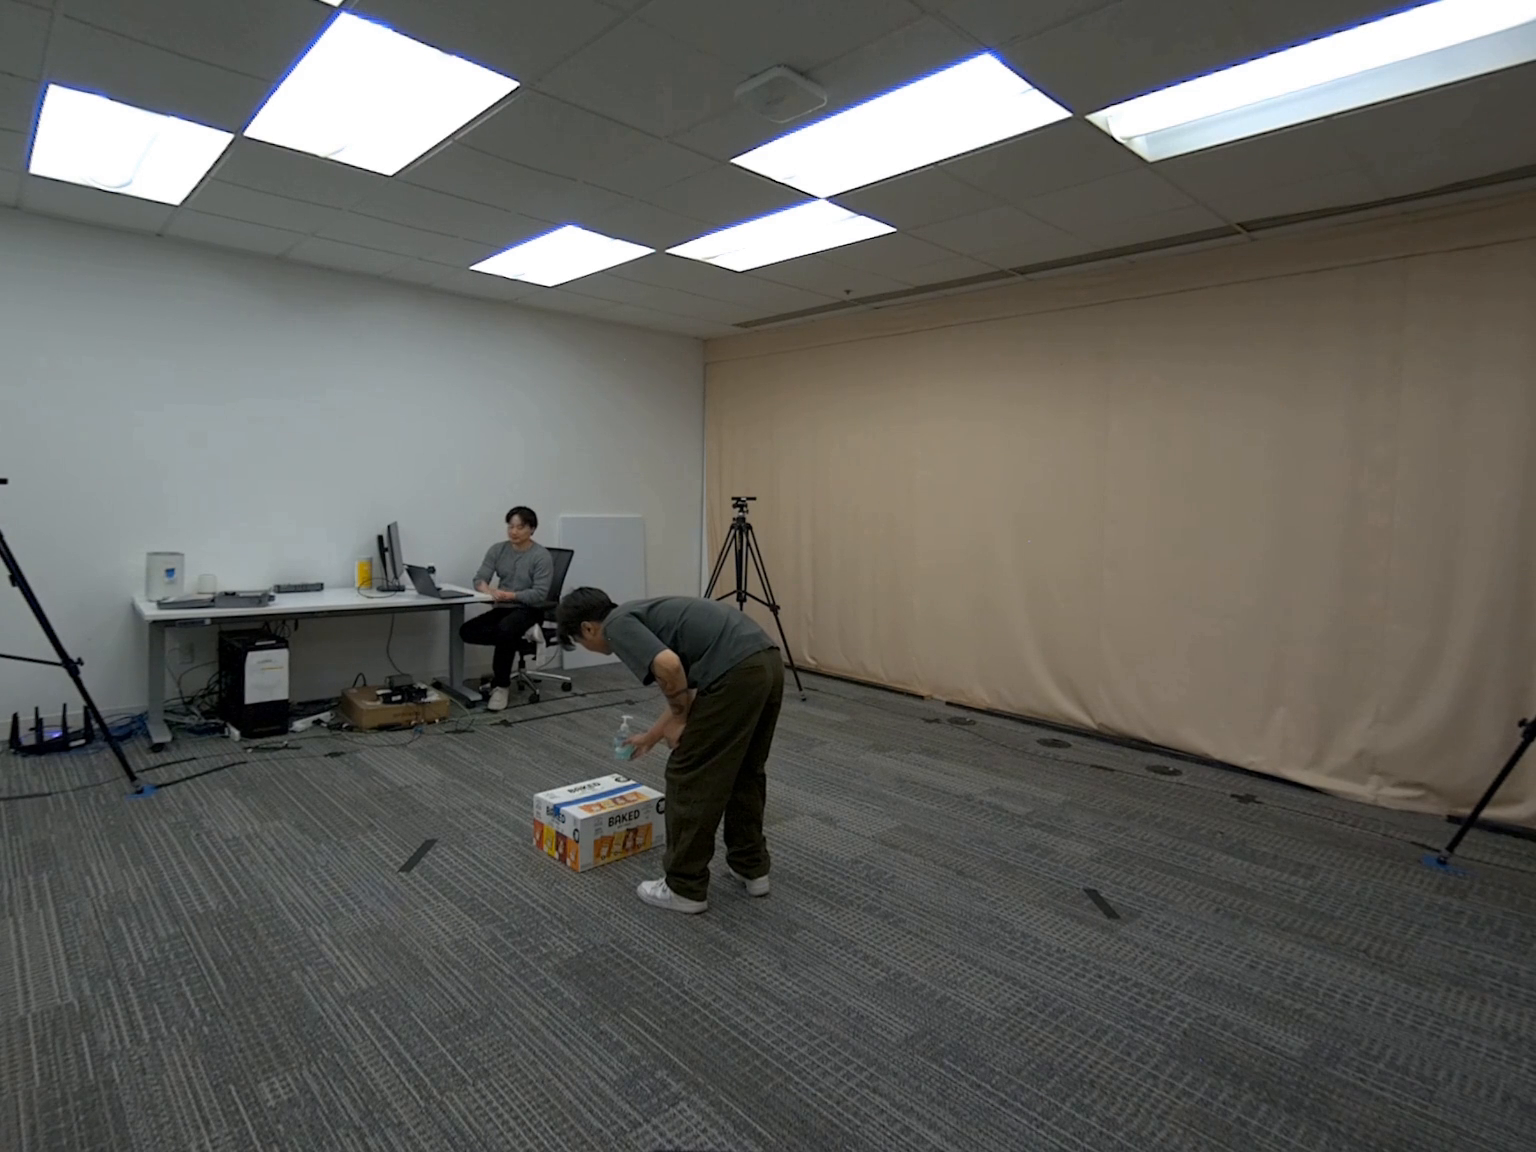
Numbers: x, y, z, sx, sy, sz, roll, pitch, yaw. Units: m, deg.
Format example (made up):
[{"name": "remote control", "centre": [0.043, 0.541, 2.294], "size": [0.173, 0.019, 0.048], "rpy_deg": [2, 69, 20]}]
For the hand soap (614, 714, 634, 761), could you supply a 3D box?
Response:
[{"name": "hand soap", "centre": [-0.580, 0.645, 3.369], "size": [0.085, 0.169, 0.043], "rpy_deg": [4, -8, 4]}]
